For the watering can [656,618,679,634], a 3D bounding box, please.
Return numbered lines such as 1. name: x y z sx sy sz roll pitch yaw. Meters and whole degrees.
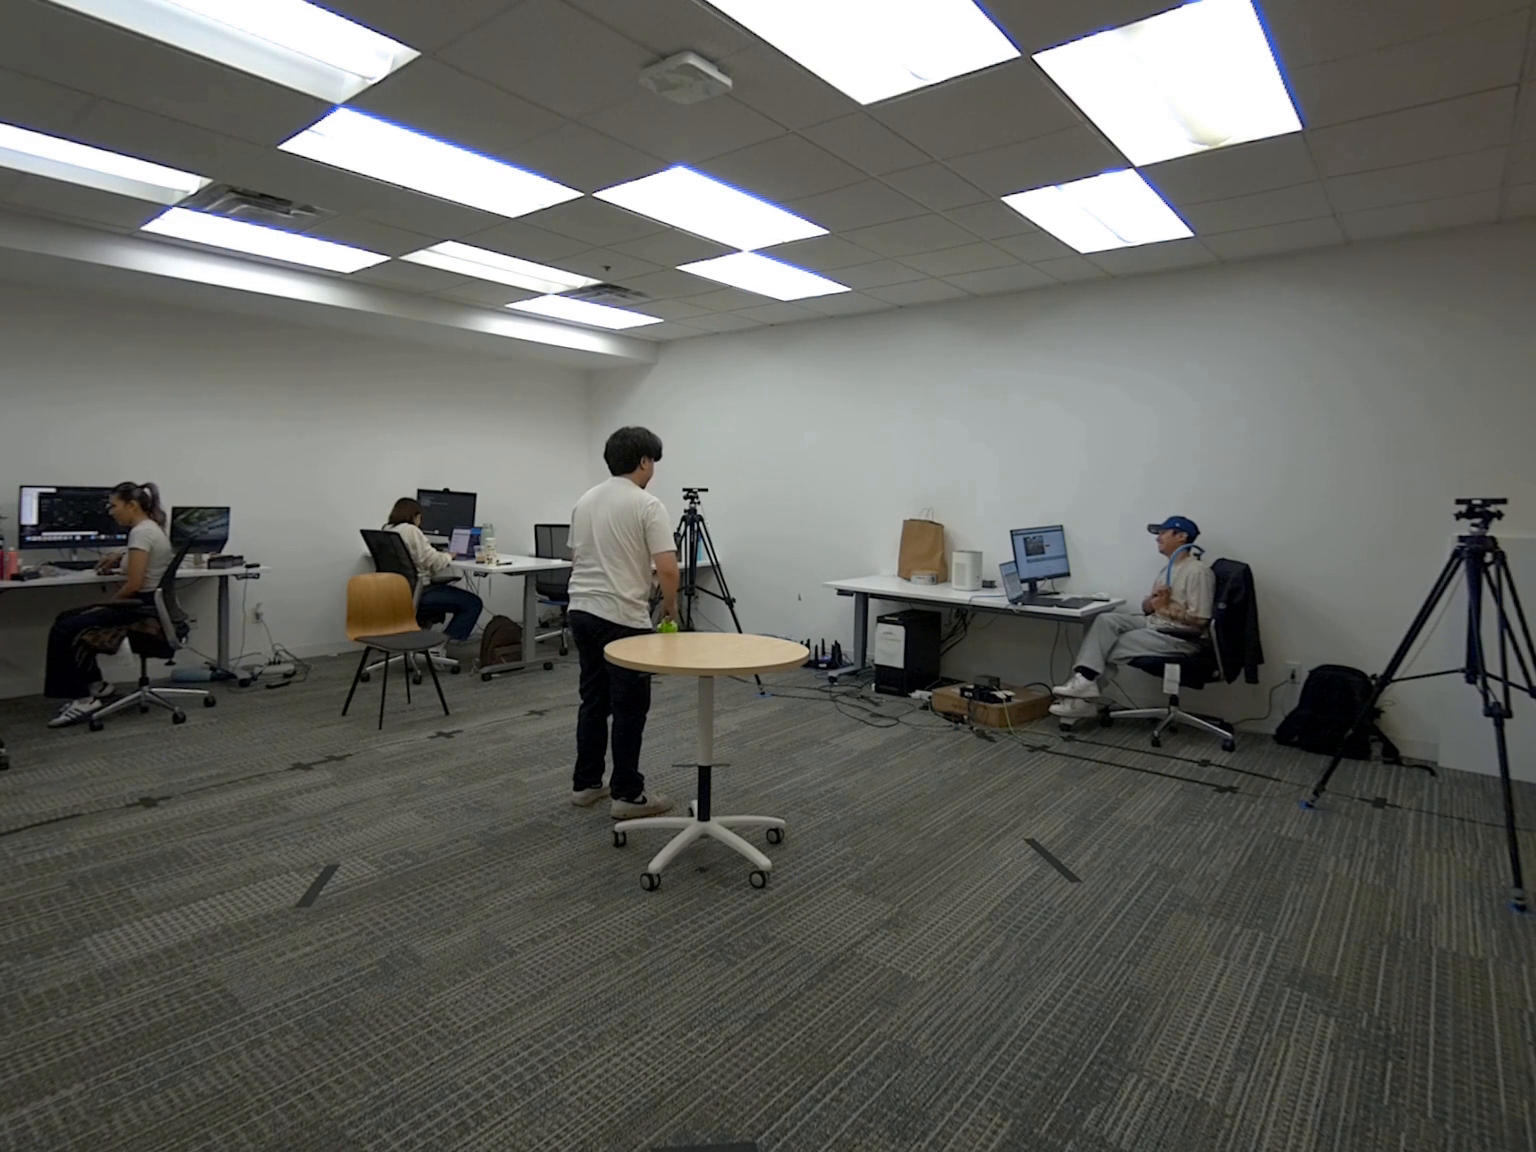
1. watering can: -0.456 0.266 3.898 0.100 0.175 0.274 5 9 21
